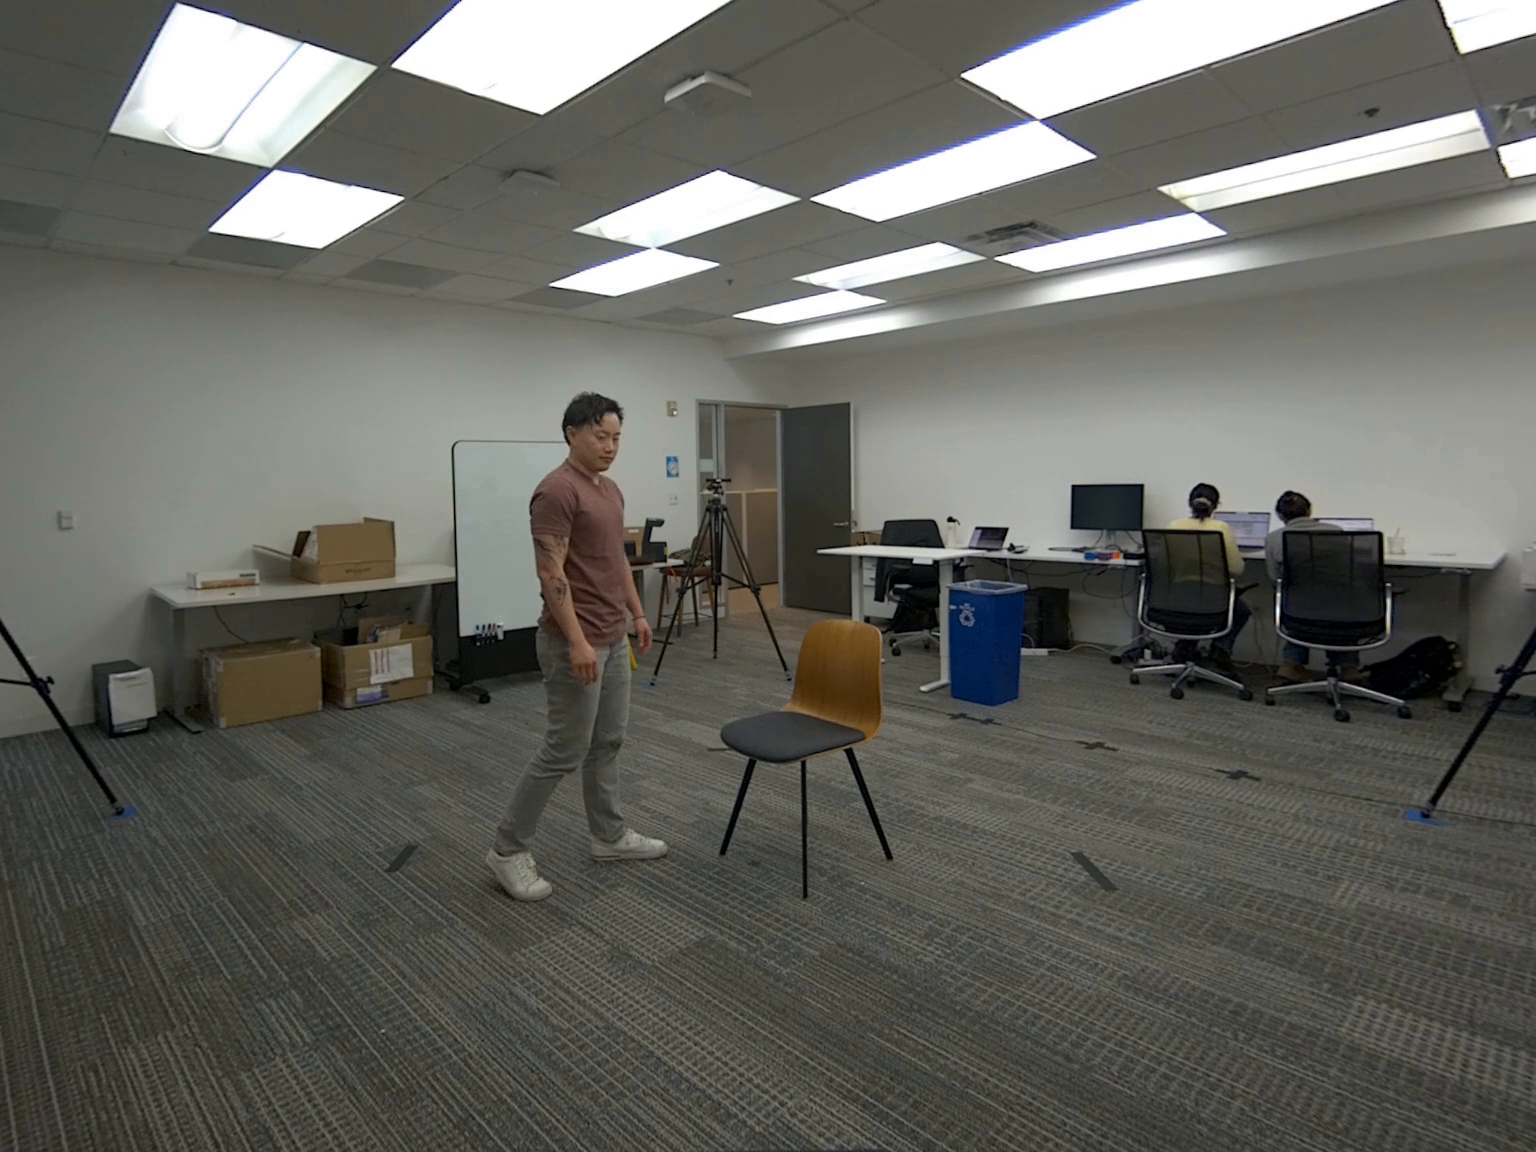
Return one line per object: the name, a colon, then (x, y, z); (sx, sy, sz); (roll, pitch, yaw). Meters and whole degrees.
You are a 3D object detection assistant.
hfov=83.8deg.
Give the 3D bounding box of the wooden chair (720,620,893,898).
wooden chair: (0.122, 0.609, 3.107); (0.508, 0.876, 0.493); (1, 2, -42)
